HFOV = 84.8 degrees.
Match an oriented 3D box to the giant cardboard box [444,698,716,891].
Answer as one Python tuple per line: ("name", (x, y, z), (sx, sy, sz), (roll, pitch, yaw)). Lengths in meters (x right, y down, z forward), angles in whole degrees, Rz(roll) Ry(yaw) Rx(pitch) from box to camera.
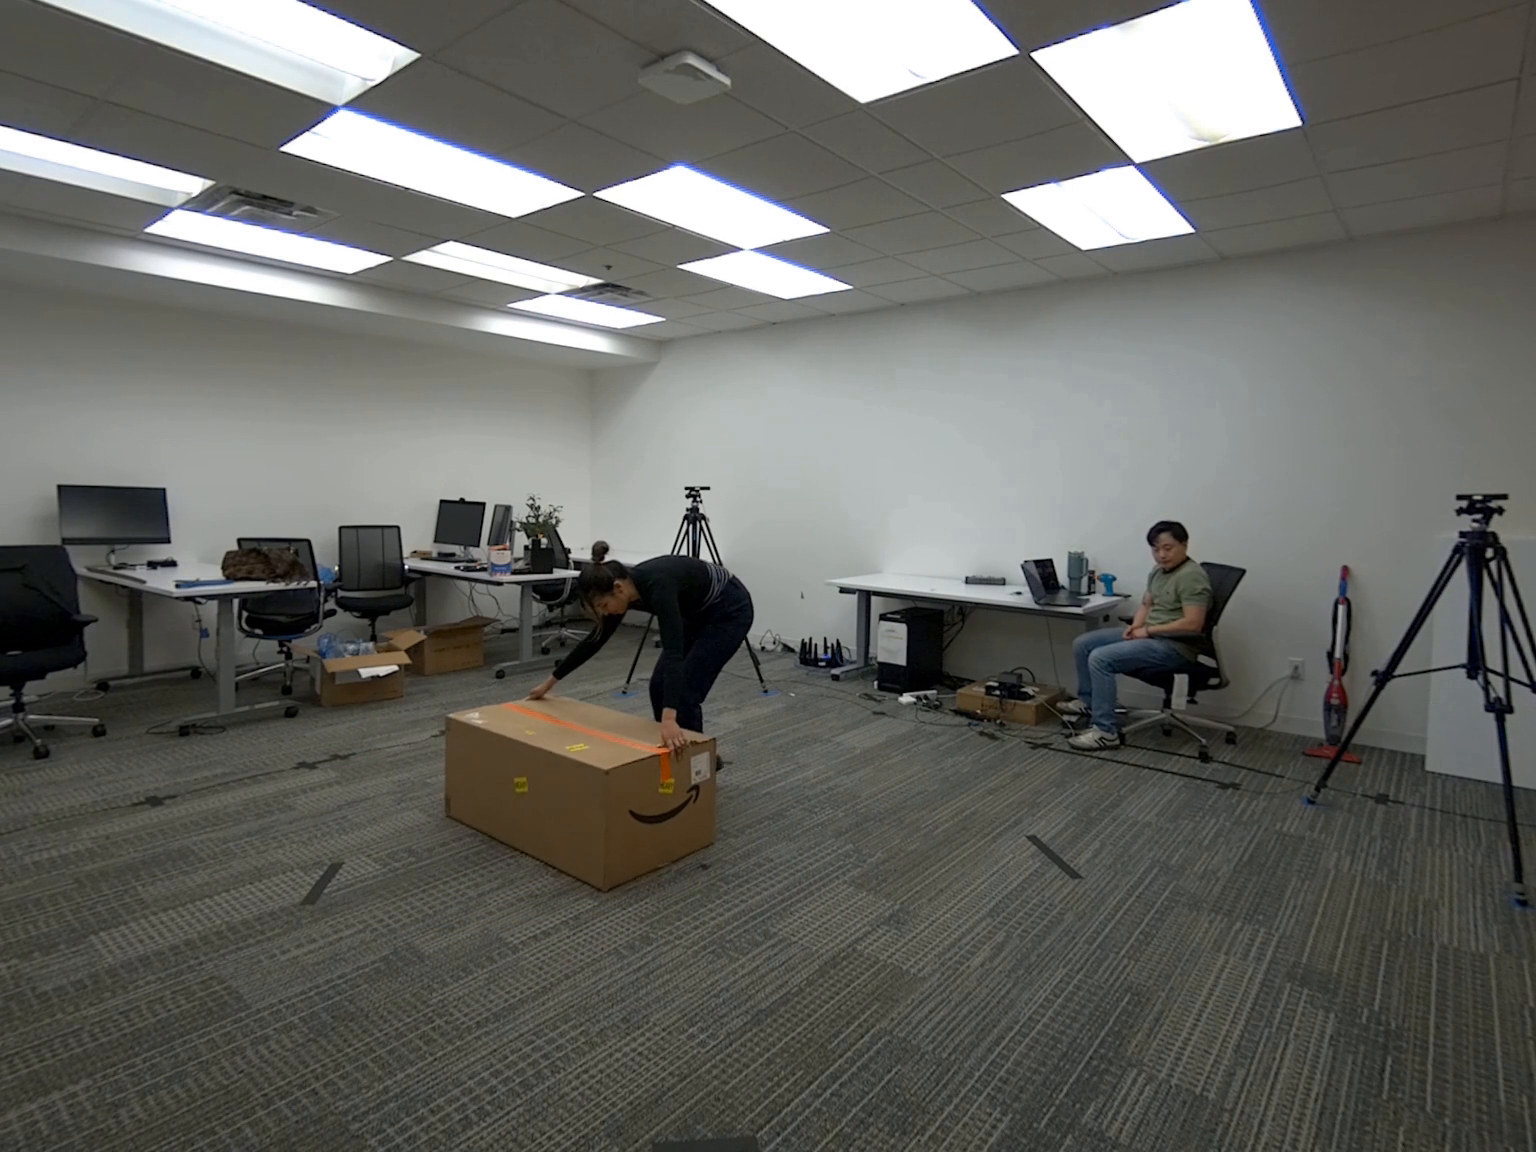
("giant cardboard box", (-0.789, 0.810, 3.437), (1.060, 0.425, 0.560), (5, 6, 39))
